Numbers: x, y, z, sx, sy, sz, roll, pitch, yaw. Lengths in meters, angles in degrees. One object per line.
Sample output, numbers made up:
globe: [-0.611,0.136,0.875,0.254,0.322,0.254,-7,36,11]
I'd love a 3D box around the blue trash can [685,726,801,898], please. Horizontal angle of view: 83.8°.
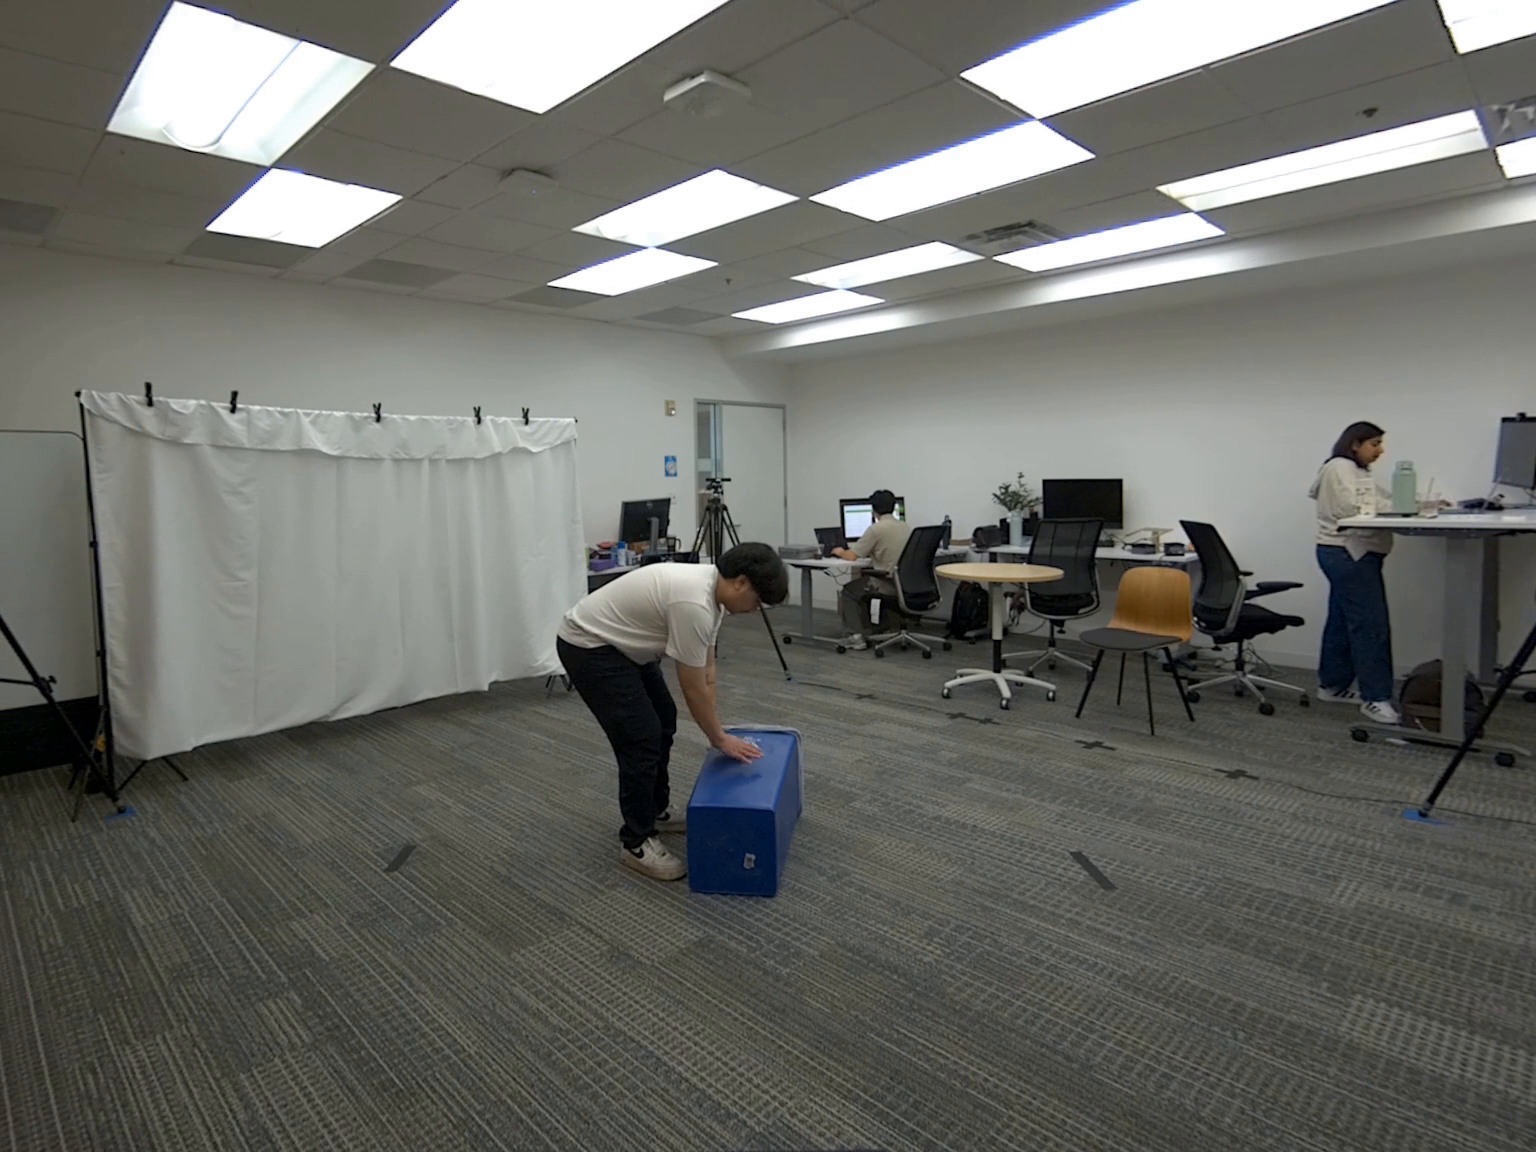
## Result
blue trash can: [-0.077,0.860,3.202,0.377,0.375,0.714,0,9,6]
